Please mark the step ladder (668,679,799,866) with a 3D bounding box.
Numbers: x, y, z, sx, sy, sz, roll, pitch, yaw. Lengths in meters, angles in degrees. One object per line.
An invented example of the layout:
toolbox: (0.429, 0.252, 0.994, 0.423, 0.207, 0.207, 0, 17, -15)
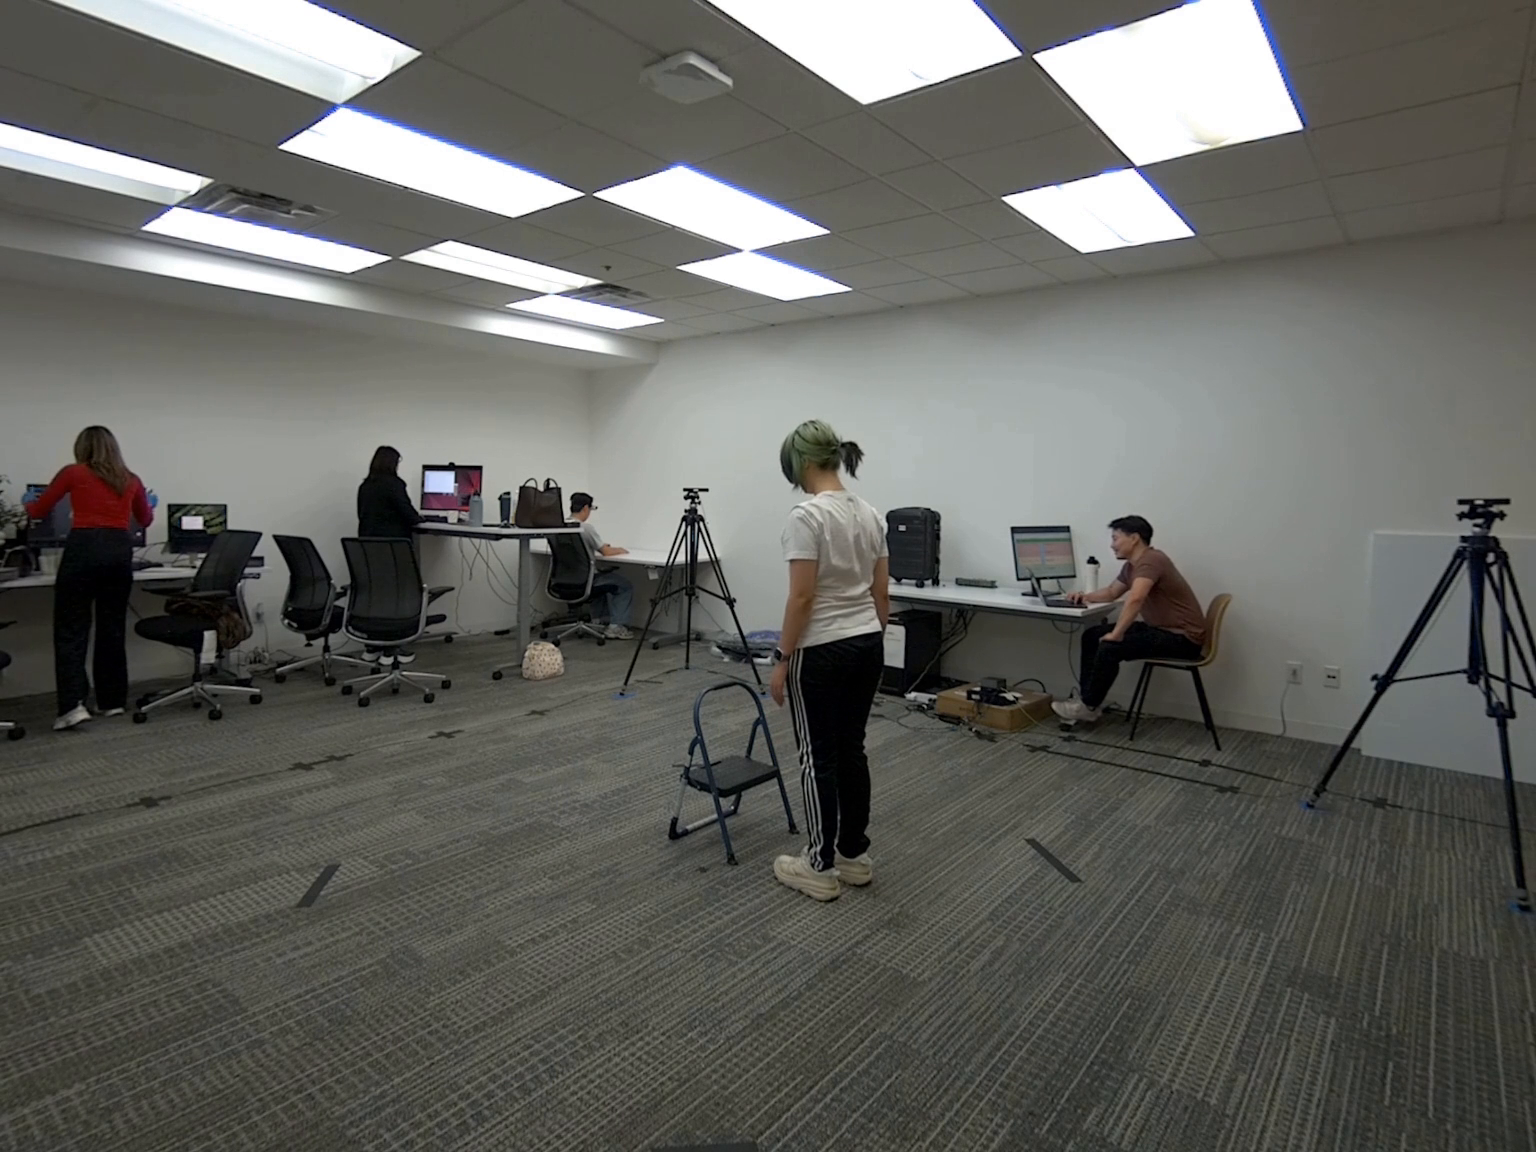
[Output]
step ladder: (-0.141, 0.739, 3.399, 0.361, 0.604, 0.418, 5, 4, 38)
